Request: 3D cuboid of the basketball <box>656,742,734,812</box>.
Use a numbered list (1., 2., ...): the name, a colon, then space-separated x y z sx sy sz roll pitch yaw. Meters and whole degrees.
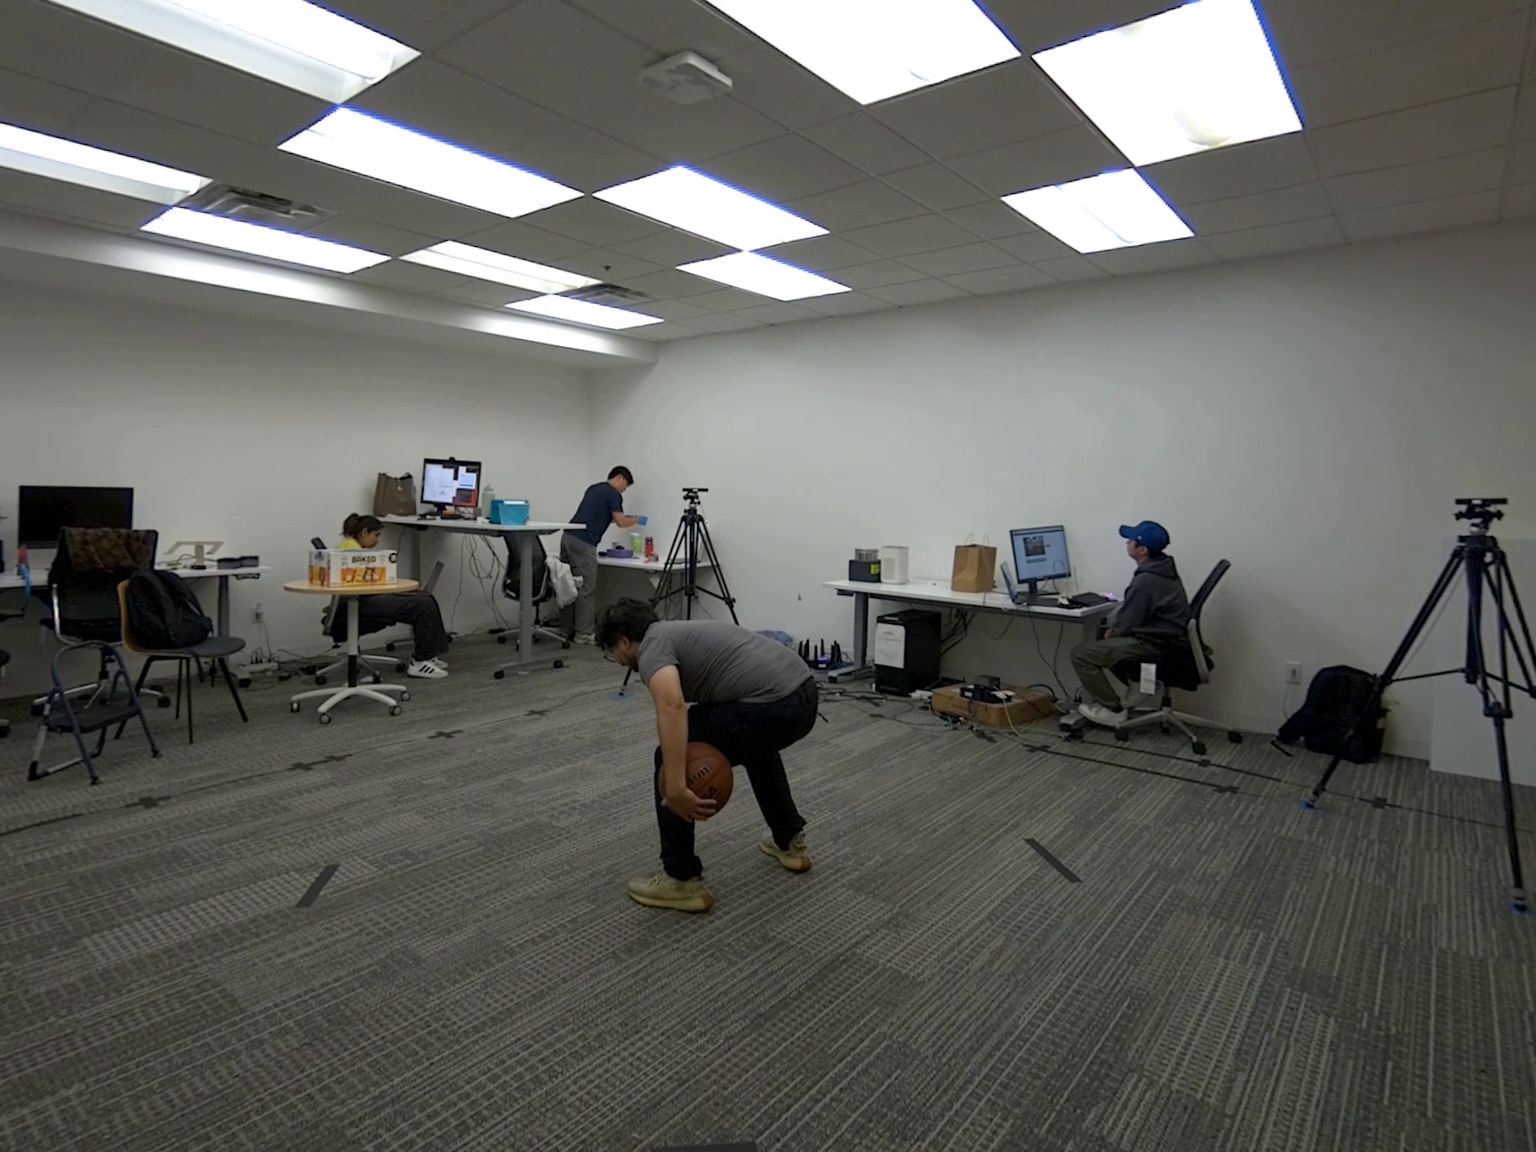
1. basketball: -0.238 0.648 2.703 0.235 0.235 0.237 1 4 -2
